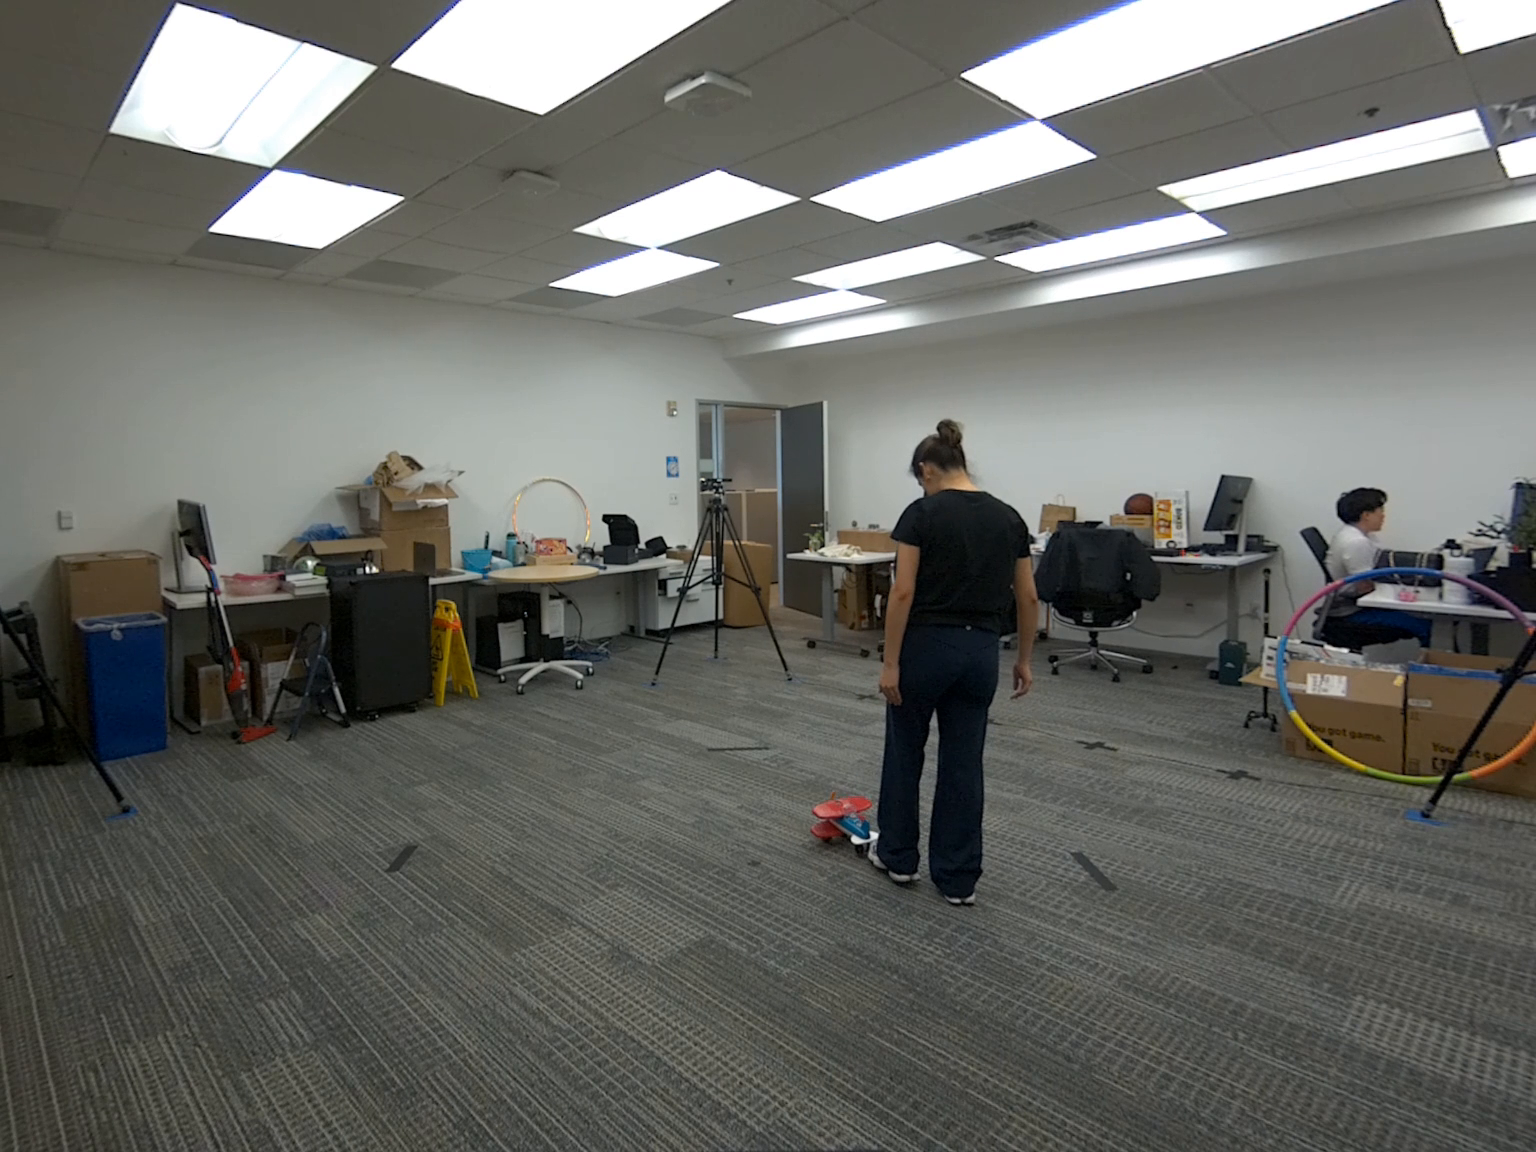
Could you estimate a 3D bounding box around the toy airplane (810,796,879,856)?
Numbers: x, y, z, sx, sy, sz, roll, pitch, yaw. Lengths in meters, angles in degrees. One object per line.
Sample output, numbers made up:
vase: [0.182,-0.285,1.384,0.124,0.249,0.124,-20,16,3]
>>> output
toy airplane: [0.313,0.941,3.262,0.265,0.156,0.245,-3,1,31]
